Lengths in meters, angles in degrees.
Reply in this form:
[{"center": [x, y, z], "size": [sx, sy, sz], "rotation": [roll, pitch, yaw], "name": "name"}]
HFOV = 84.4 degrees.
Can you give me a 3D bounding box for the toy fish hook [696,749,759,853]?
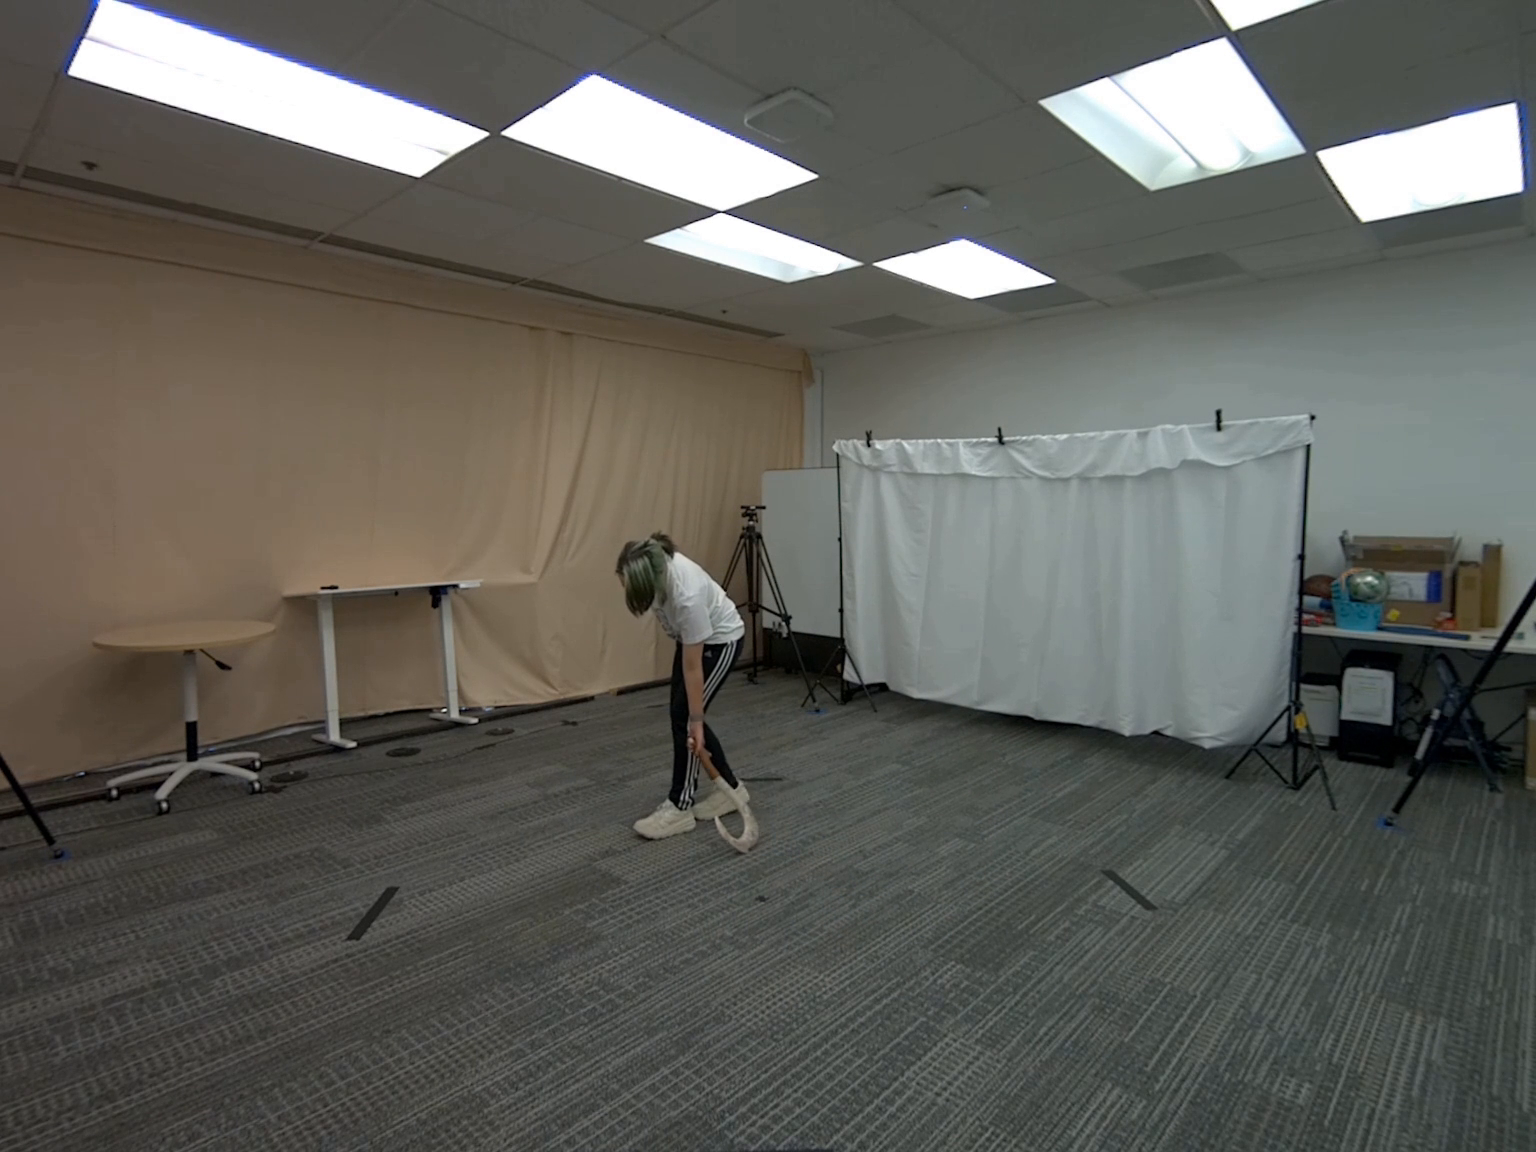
[{"center": [-0.203, 0.888, 3.422], "size": [0.049, 0.509, 0.221], "rotation": [-36, -5, 28], "name": "toy fish hook"}]
